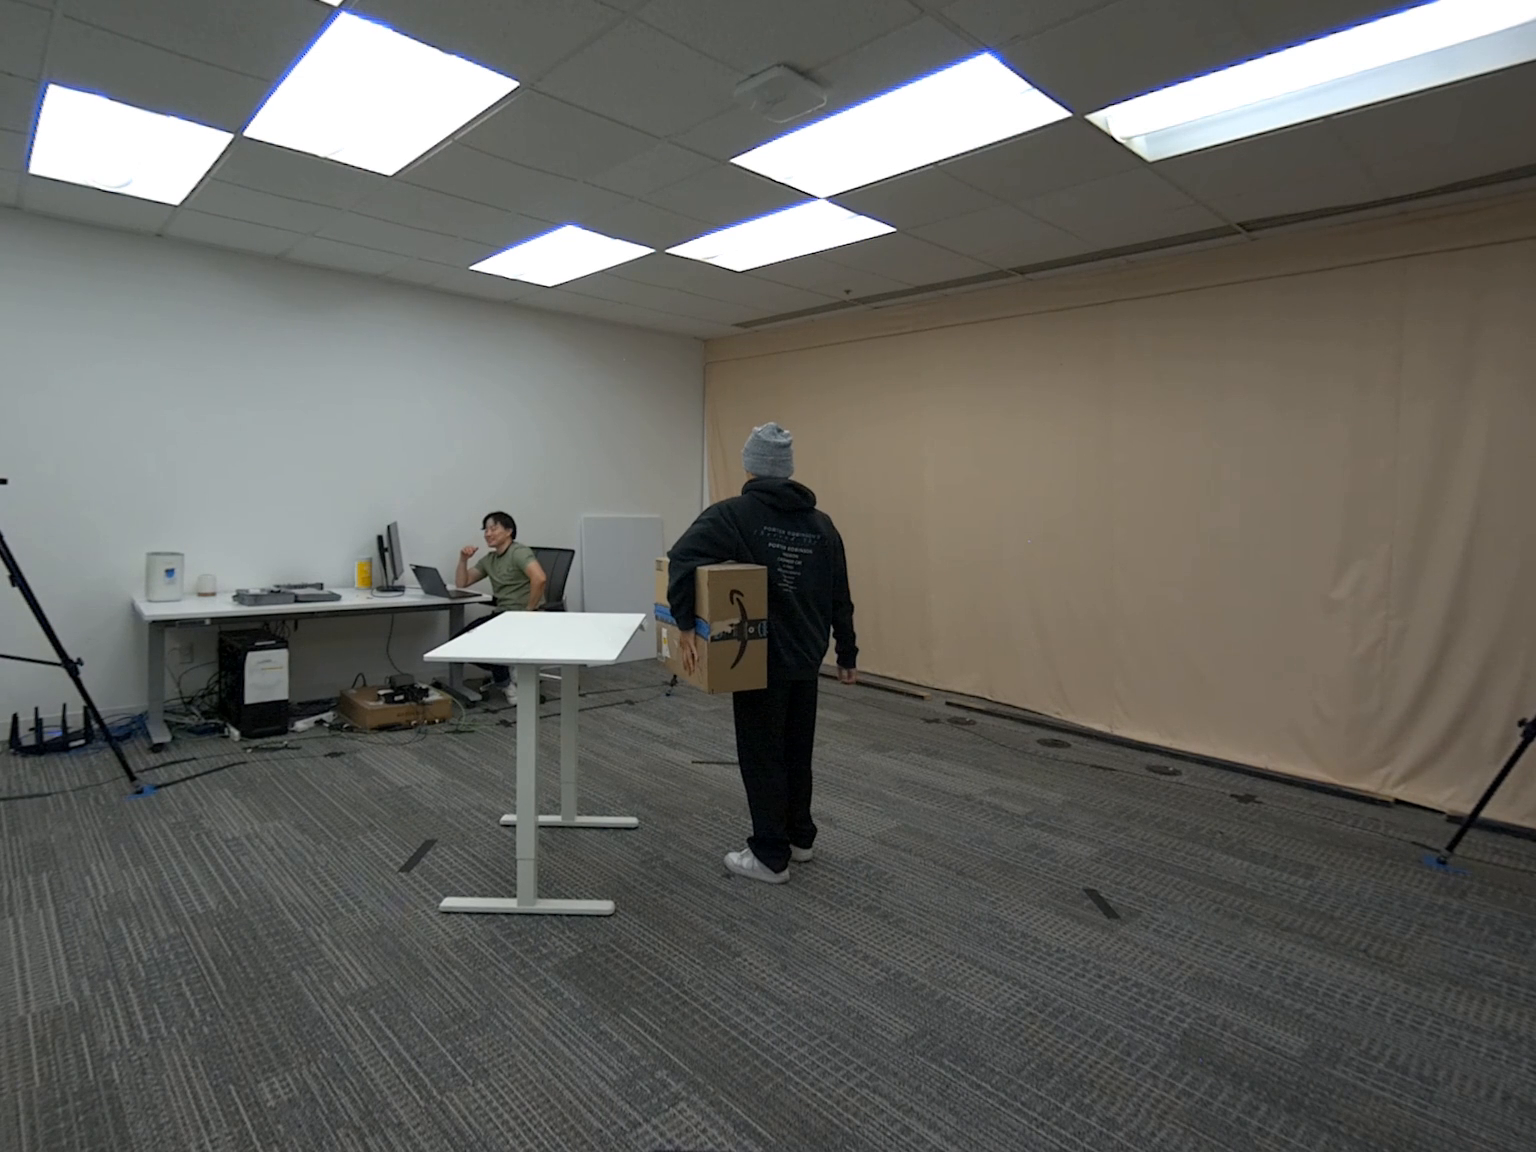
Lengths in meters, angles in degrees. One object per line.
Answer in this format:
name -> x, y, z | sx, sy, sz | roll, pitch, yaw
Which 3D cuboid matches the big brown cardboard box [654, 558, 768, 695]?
big brown cardboard box -> -0.227, 0.155, 3.061 | 0.229, 0.416, 0.601 | -2, 5, -24
